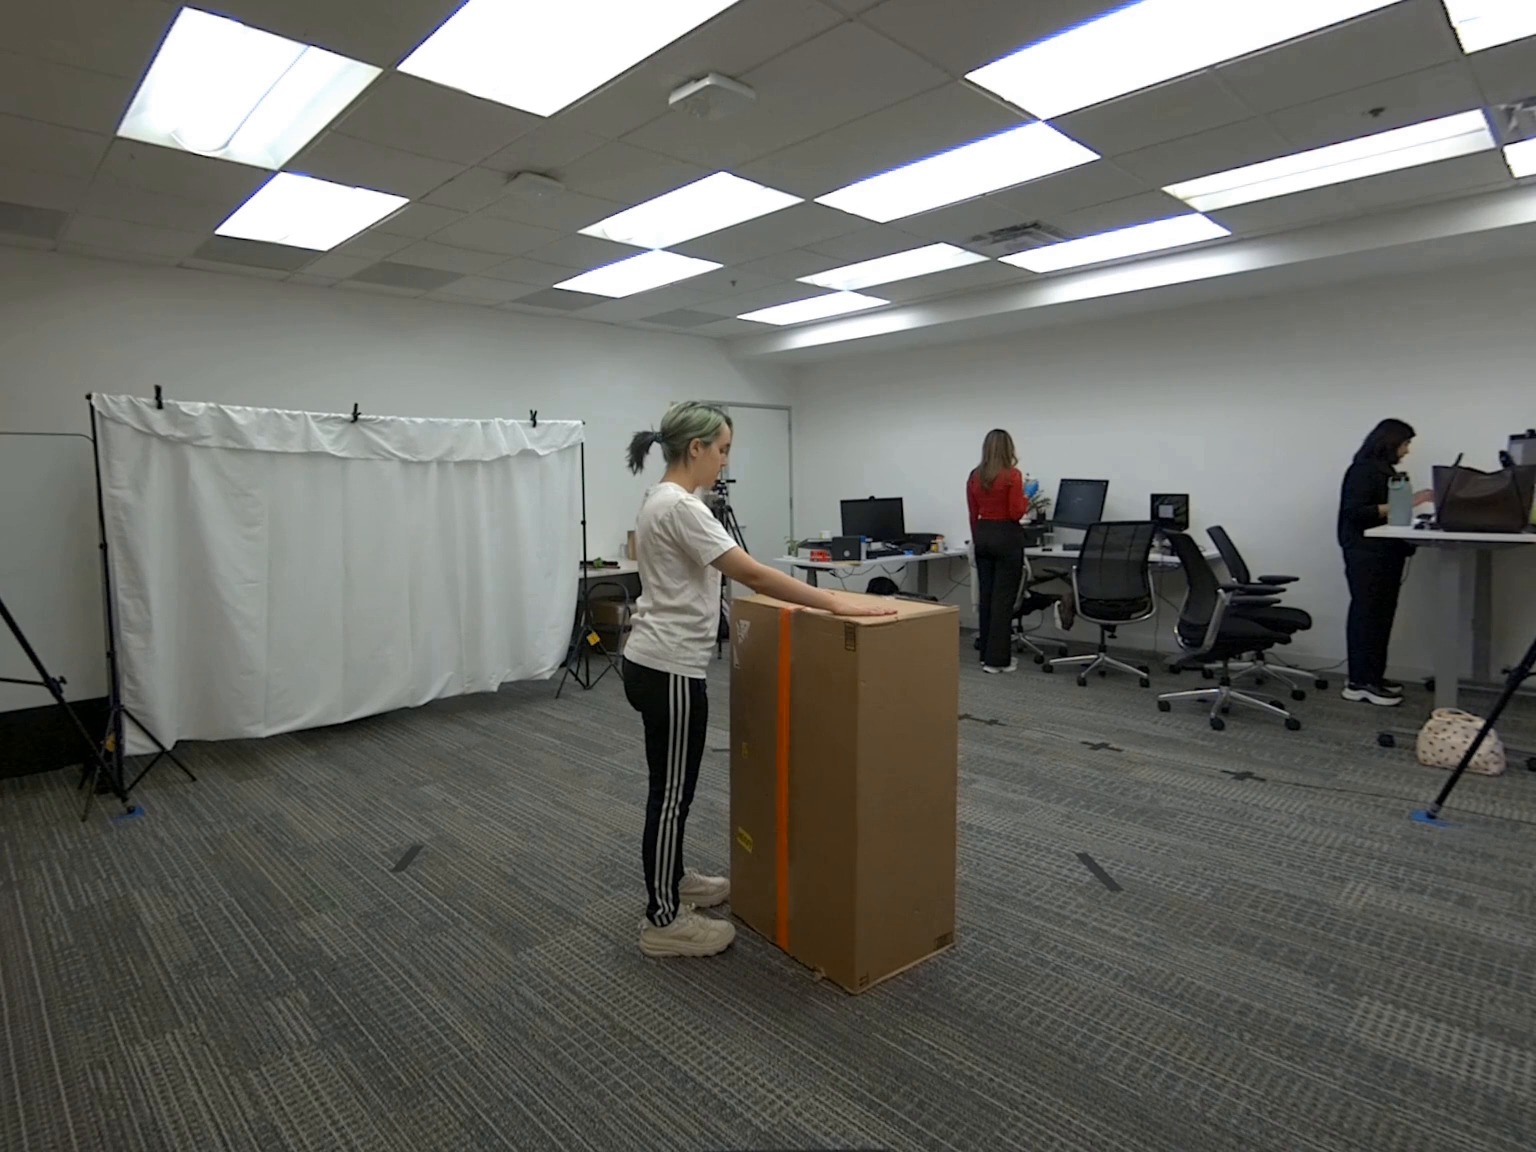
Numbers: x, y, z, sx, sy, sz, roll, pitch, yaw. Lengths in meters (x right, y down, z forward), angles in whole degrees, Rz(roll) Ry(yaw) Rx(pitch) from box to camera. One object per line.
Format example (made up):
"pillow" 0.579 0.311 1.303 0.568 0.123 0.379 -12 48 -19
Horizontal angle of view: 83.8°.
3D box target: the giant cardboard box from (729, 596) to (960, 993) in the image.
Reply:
"giant cardboard box" 0.222 0.590 2.624 0.435 1.024 0.602 -2 5 -39
